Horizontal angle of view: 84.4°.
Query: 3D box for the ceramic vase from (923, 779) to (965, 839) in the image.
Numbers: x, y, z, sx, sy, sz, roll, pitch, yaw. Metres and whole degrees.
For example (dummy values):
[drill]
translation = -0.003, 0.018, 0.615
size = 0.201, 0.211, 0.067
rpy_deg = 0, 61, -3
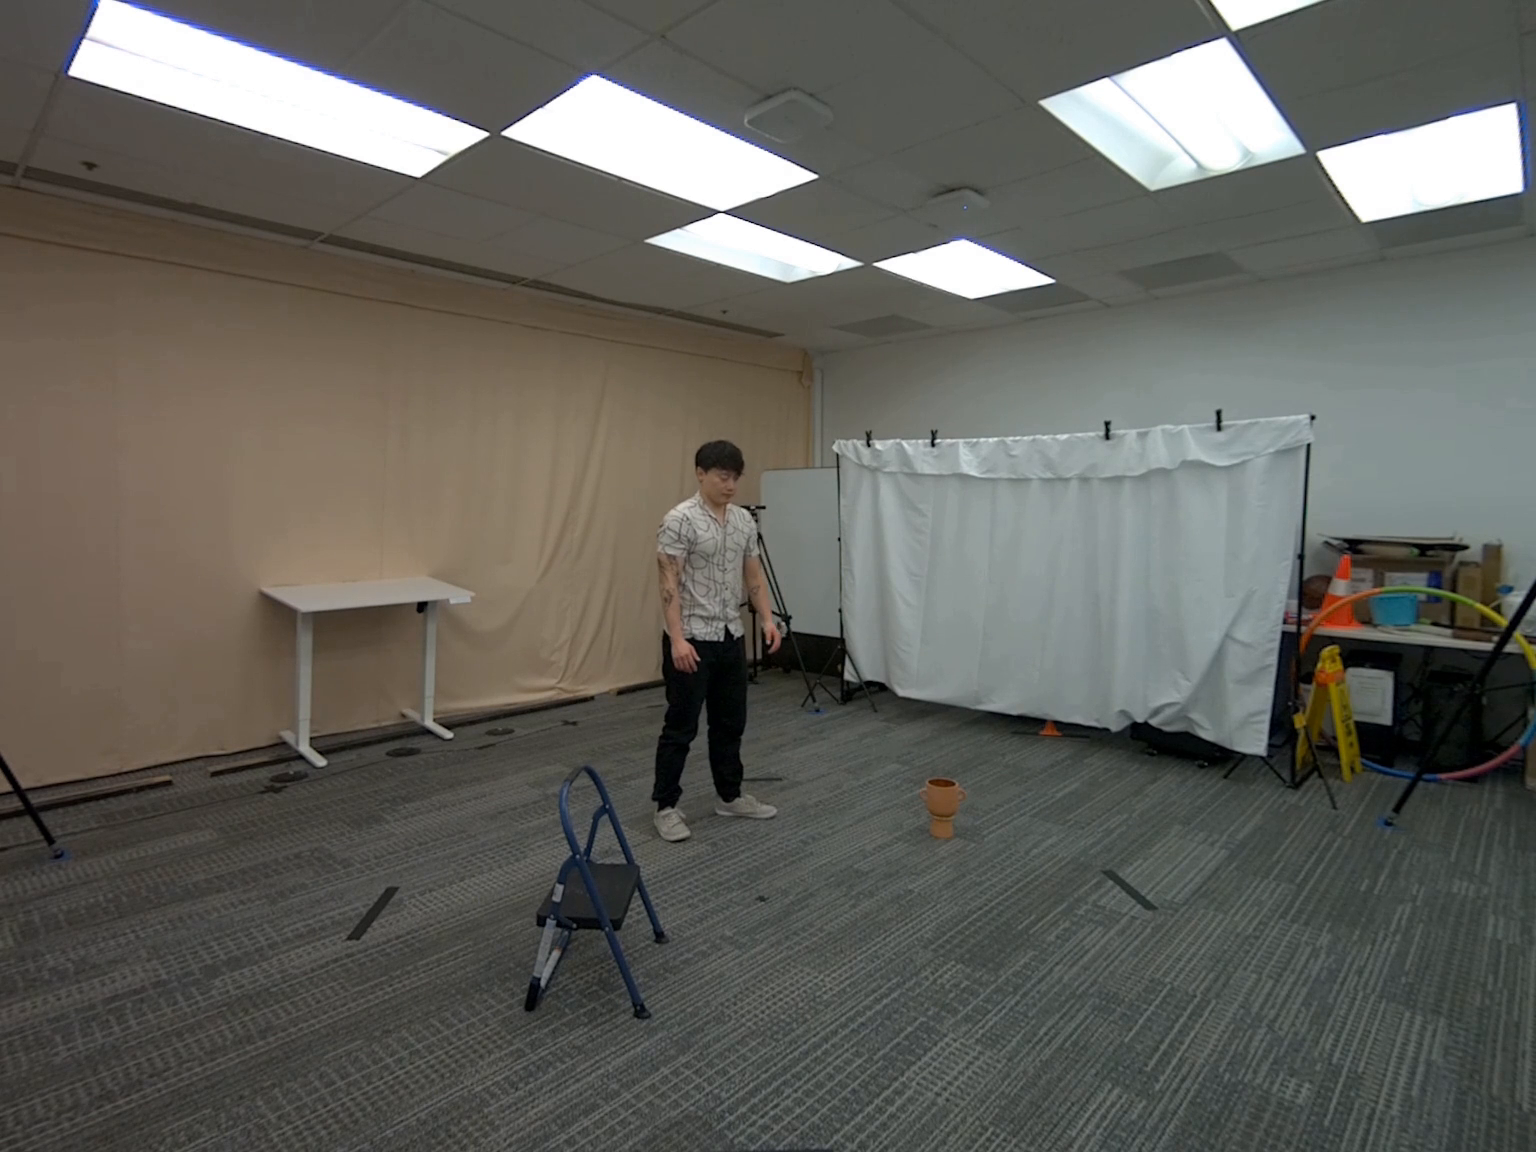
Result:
[ceramic vase]
translation = 0.741, 0.983, 3.564
size = 0.164, 0.219, 0.130
rpy_deg = 4, 5, 38
